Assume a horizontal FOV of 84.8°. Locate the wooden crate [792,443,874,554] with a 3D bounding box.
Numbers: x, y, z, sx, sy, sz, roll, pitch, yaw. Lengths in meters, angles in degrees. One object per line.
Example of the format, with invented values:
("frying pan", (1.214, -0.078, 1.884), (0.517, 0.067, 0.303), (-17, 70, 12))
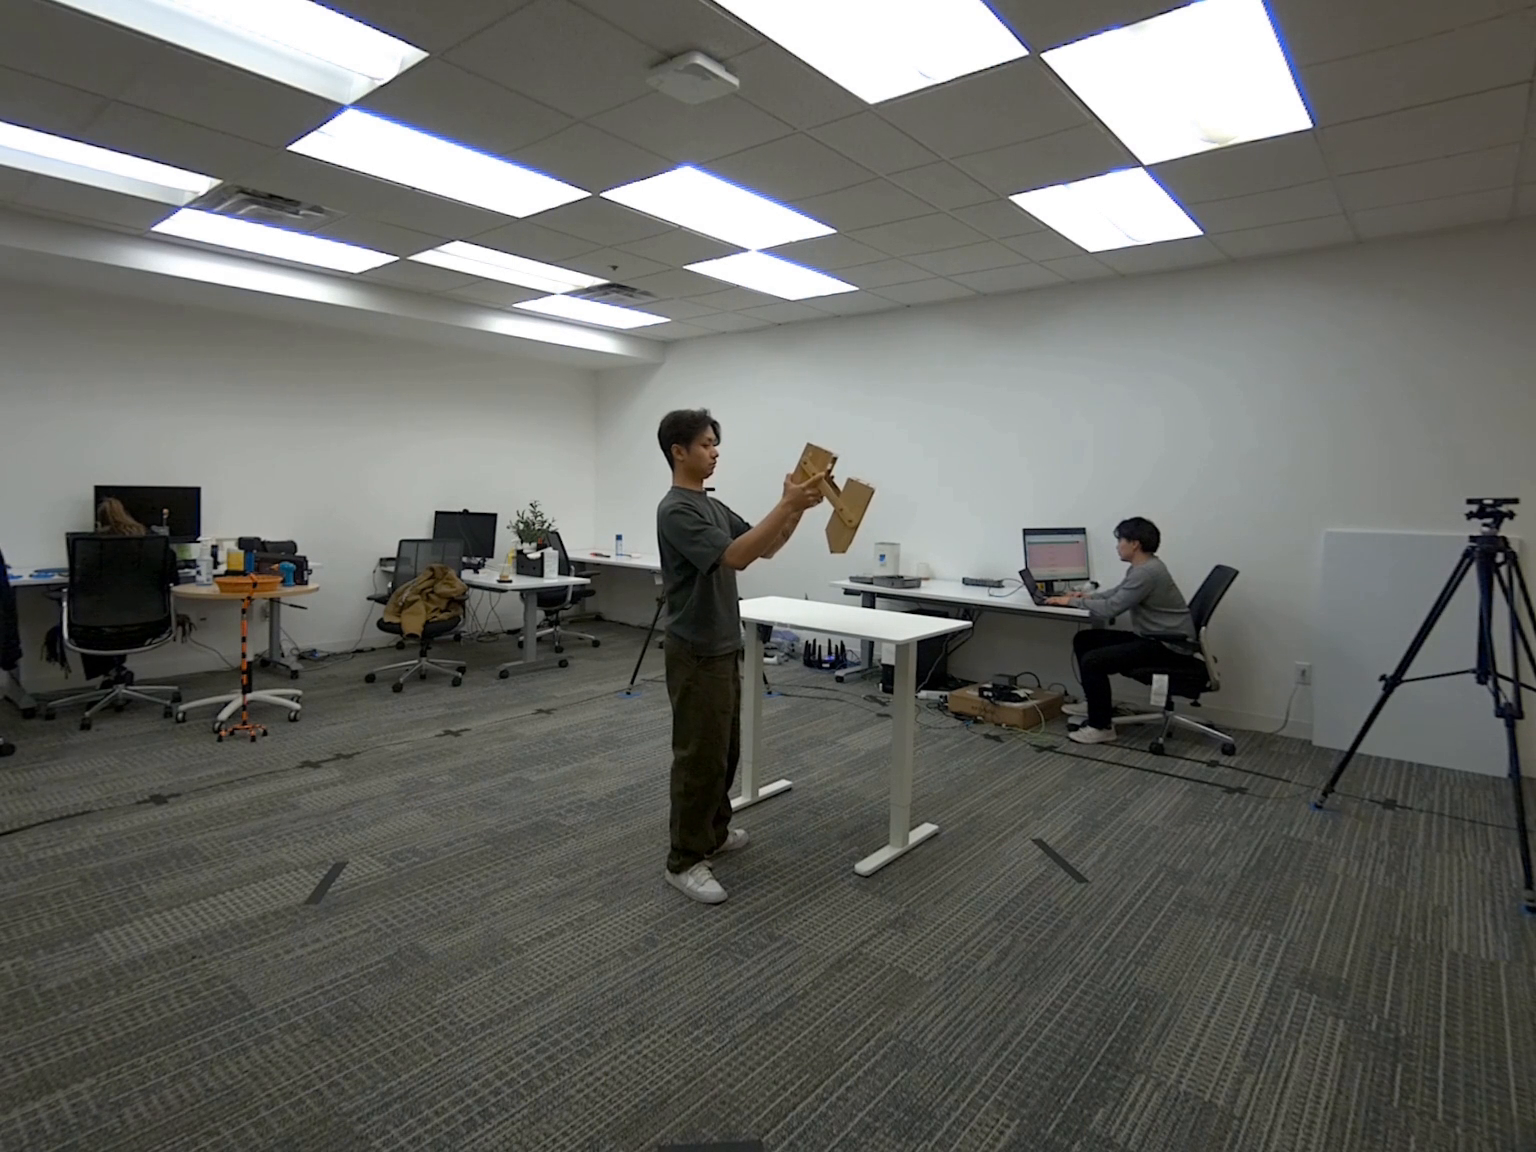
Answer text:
("wooden crate", (0.189, -0.264, 2.913), (0.276, 0.301, 0.322), (27, 9, 6))
